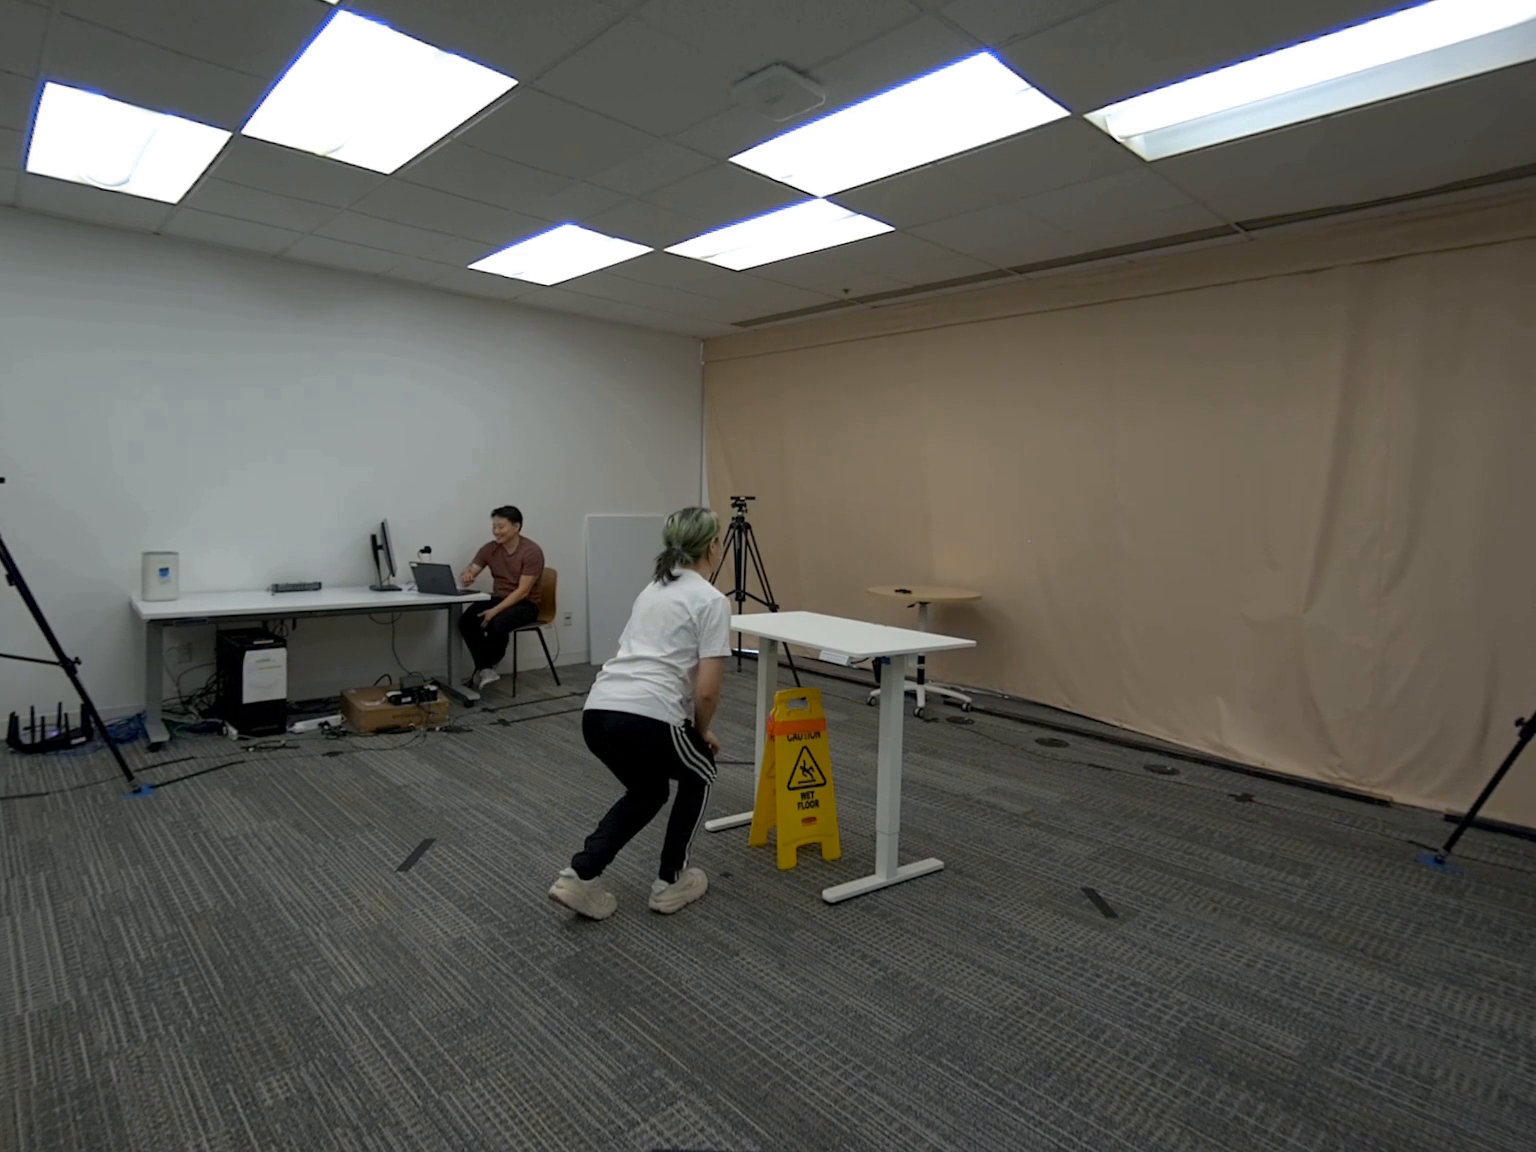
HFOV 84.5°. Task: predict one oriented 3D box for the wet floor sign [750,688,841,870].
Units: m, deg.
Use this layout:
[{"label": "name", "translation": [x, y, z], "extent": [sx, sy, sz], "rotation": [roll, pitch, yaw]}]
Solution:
[{"label": "wet floor sign", "translation": [0.104, 0.765, 3.309], "extent": [0.277, 0.644, 0.296], "rotation": [-1, 4, -27]}]
